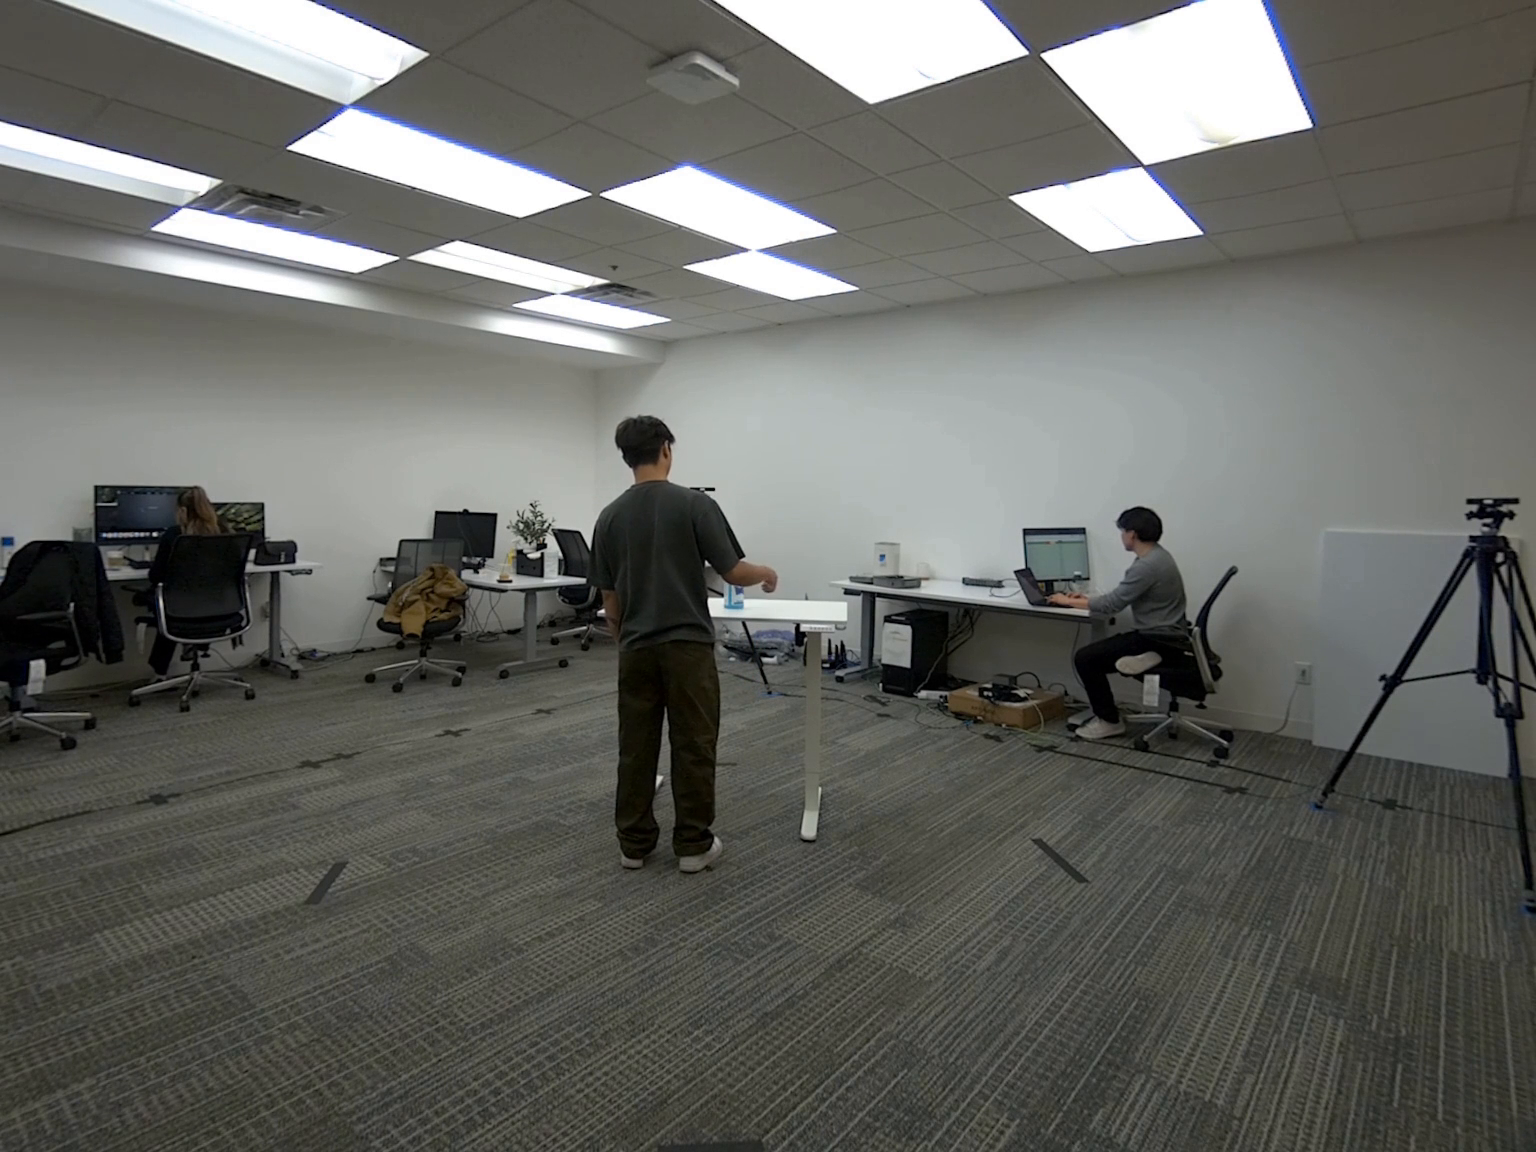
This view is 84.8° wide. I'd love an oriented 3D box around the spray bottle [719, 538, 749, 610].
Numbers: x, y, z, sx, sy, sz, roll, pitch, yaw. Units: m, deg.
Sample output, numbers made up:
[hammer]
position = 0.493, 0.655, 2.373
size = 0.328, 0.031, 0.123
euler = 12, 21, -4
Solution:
[spray bottle]
position = -0.154, -0.013, 3.639
size = 0.089, 0.297, 0.088
euler = -3, 2, 22
